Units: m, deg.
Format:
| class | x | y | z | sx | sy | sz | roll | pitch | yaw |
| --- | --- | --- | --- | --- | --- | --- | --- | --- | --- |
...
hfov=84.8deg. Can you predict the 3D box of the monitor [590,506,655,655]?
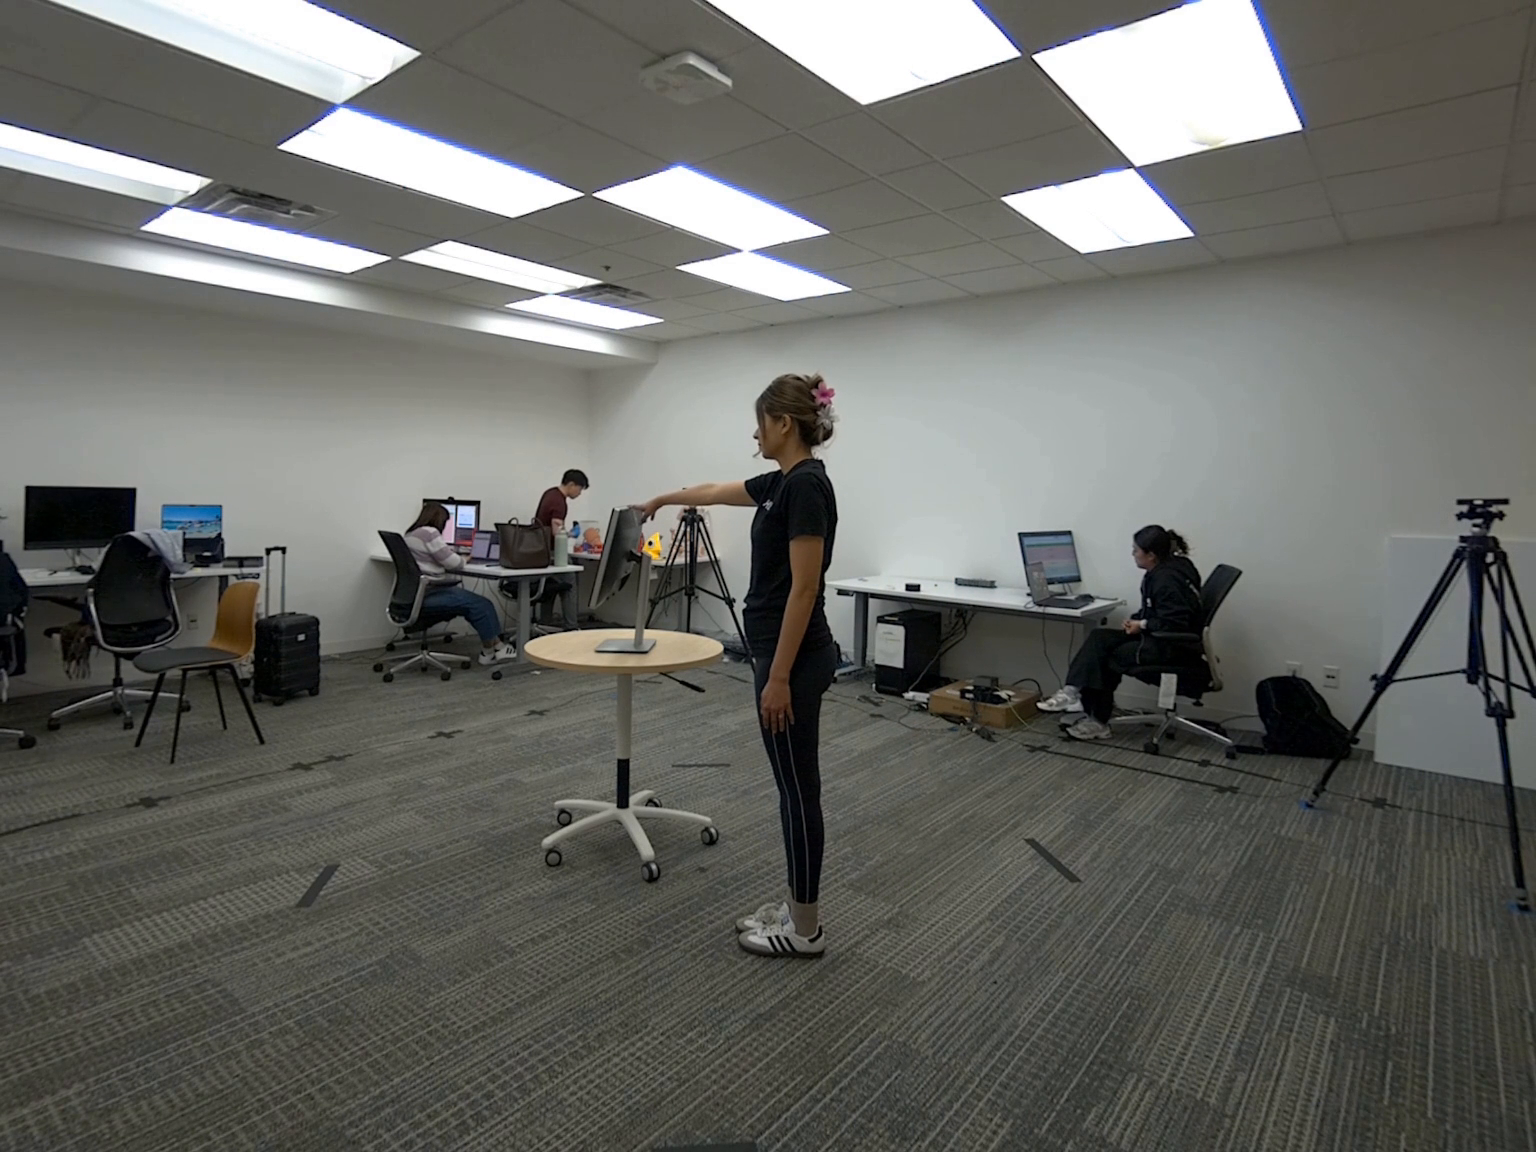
| class | x | y | z | sx | sy | sz | roll | pitch | yaw |
| --- | --- | --- | --- | --- | --- | --- | --- | --- | --- |
| monitor | -0.544 | 0.009 | 3.246 | 0.187 | 0.521 | 0.541 | 1 | 5 | -1 |
